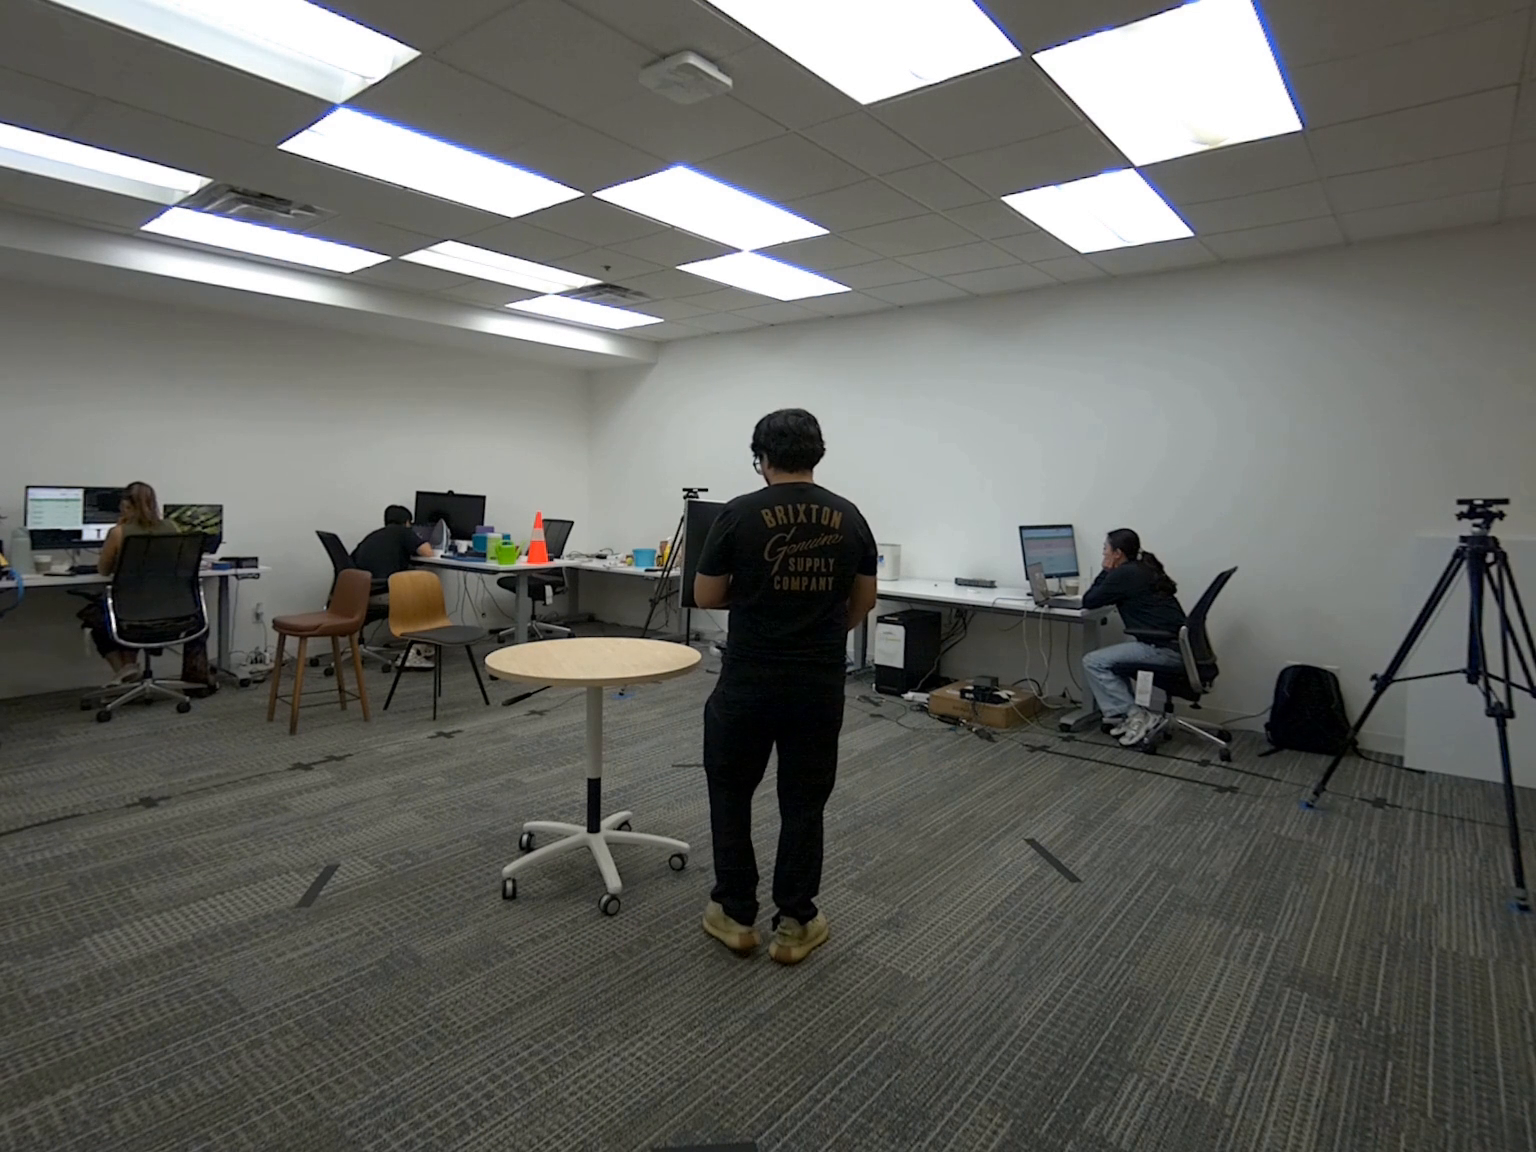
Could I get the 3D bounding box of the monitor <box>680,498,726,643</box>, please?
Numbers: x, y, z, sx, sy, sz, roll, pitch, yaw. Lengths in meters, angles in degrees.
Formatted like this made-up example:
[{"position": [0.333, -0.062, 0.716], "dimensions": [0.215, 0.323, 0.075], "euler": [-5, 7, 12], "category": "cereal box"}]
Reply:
[{"position": [-0.013, 0.023, 2.814], "dimensions": [0.555, 0.559, 0.212], "euler": [3, -9, -16], "category": "monitor"}]
